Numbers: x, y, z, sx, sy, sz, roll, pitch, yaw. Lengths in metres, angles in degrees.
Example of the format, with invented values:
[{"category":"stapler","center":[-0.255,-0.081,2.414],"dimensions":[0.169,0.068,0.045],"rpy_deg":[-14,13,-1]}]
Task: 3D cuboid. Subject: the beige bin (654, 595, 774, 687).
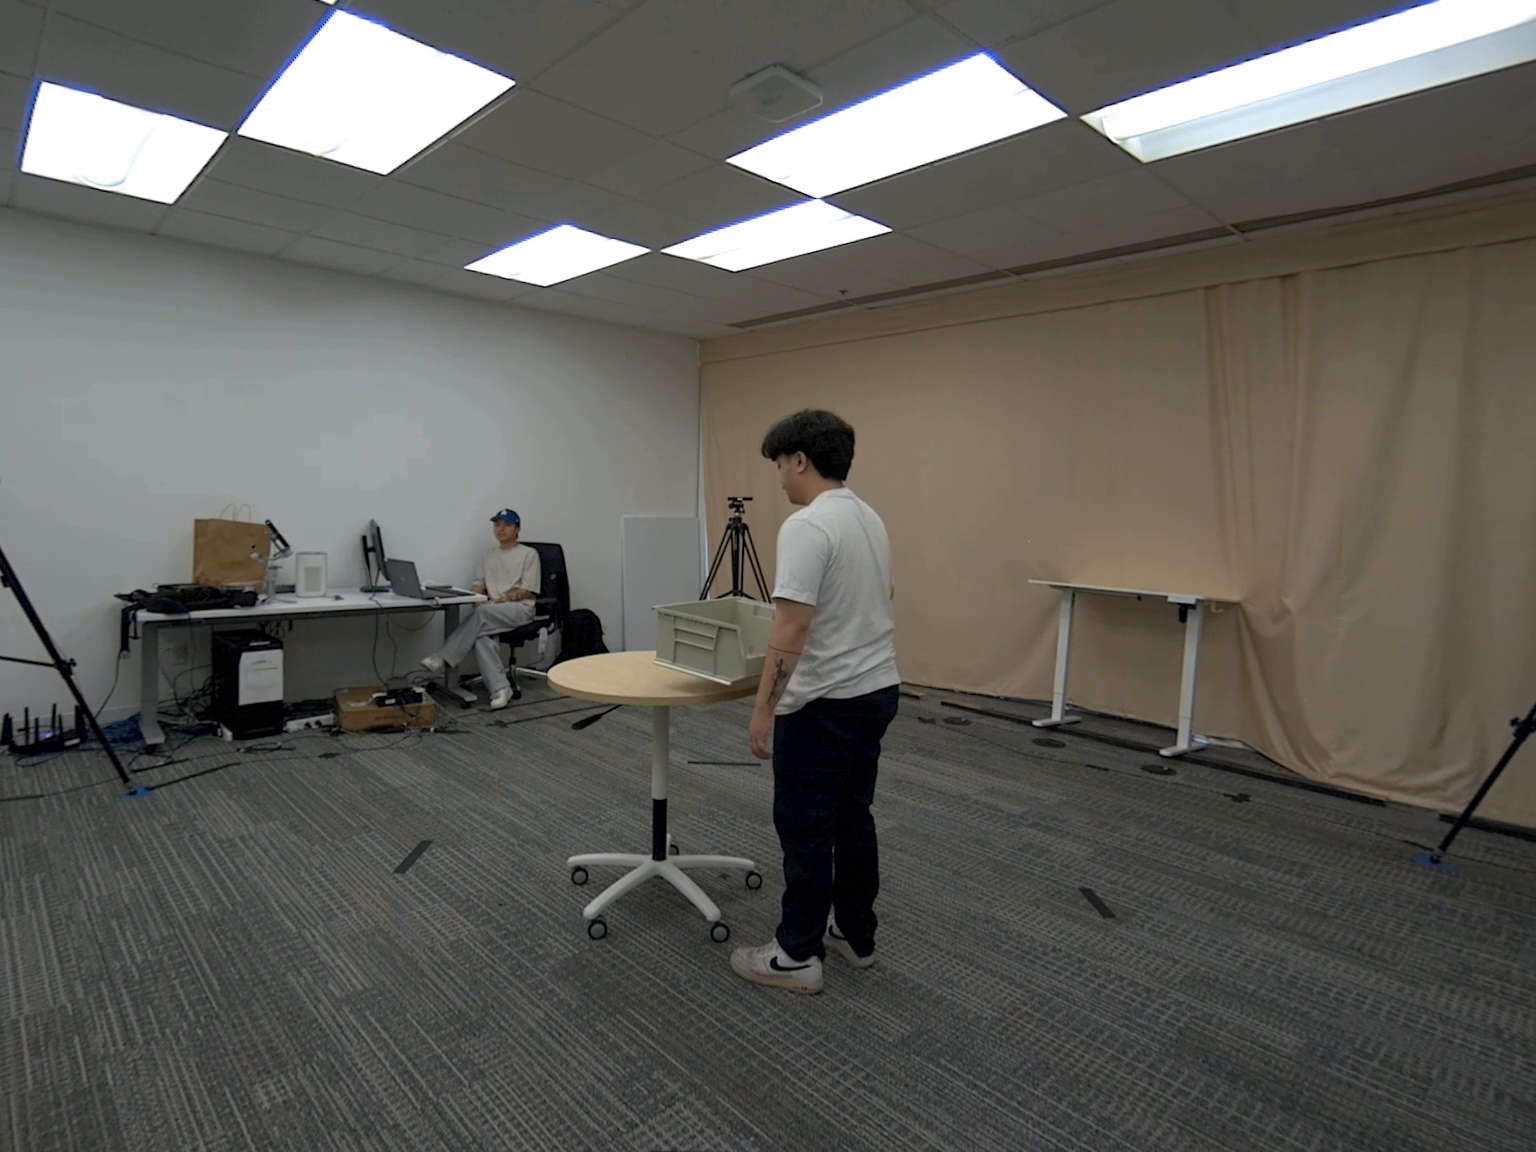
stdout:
[{"category":"beige bin","center":[-0.103,0.200,2.668],"dimensions":[0.387,0.188,0.413],"rpy_deg":[10,9,37]}]
